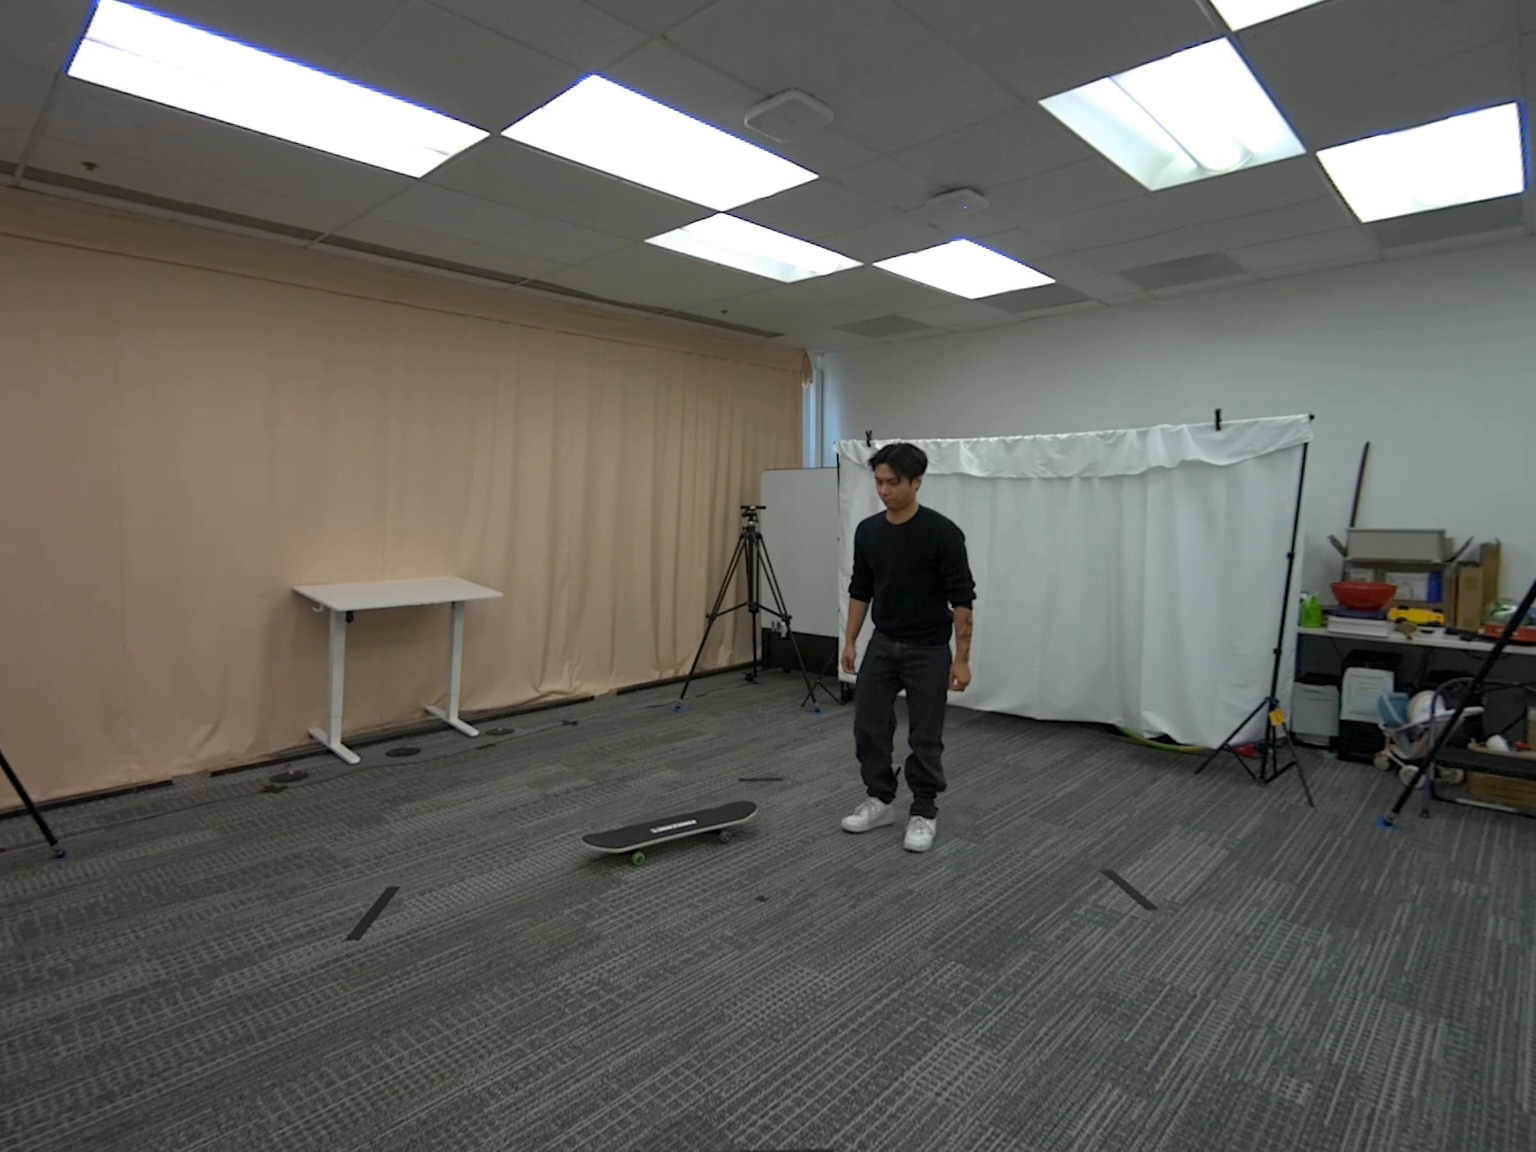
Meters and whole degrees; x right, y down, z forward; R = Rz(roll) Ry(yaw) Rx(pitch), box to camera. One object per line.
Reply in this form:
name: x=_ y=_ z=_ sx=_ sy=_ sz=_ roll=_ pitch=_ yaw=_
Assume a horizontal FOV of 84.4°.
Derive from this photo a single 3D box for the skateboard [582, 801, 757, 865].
skateboard: x=-0.390 y=1.052 z=3.439 sx=0.764 sy=0.110 sz=0.199 roll=-4 pitch=4 yaw=-32
